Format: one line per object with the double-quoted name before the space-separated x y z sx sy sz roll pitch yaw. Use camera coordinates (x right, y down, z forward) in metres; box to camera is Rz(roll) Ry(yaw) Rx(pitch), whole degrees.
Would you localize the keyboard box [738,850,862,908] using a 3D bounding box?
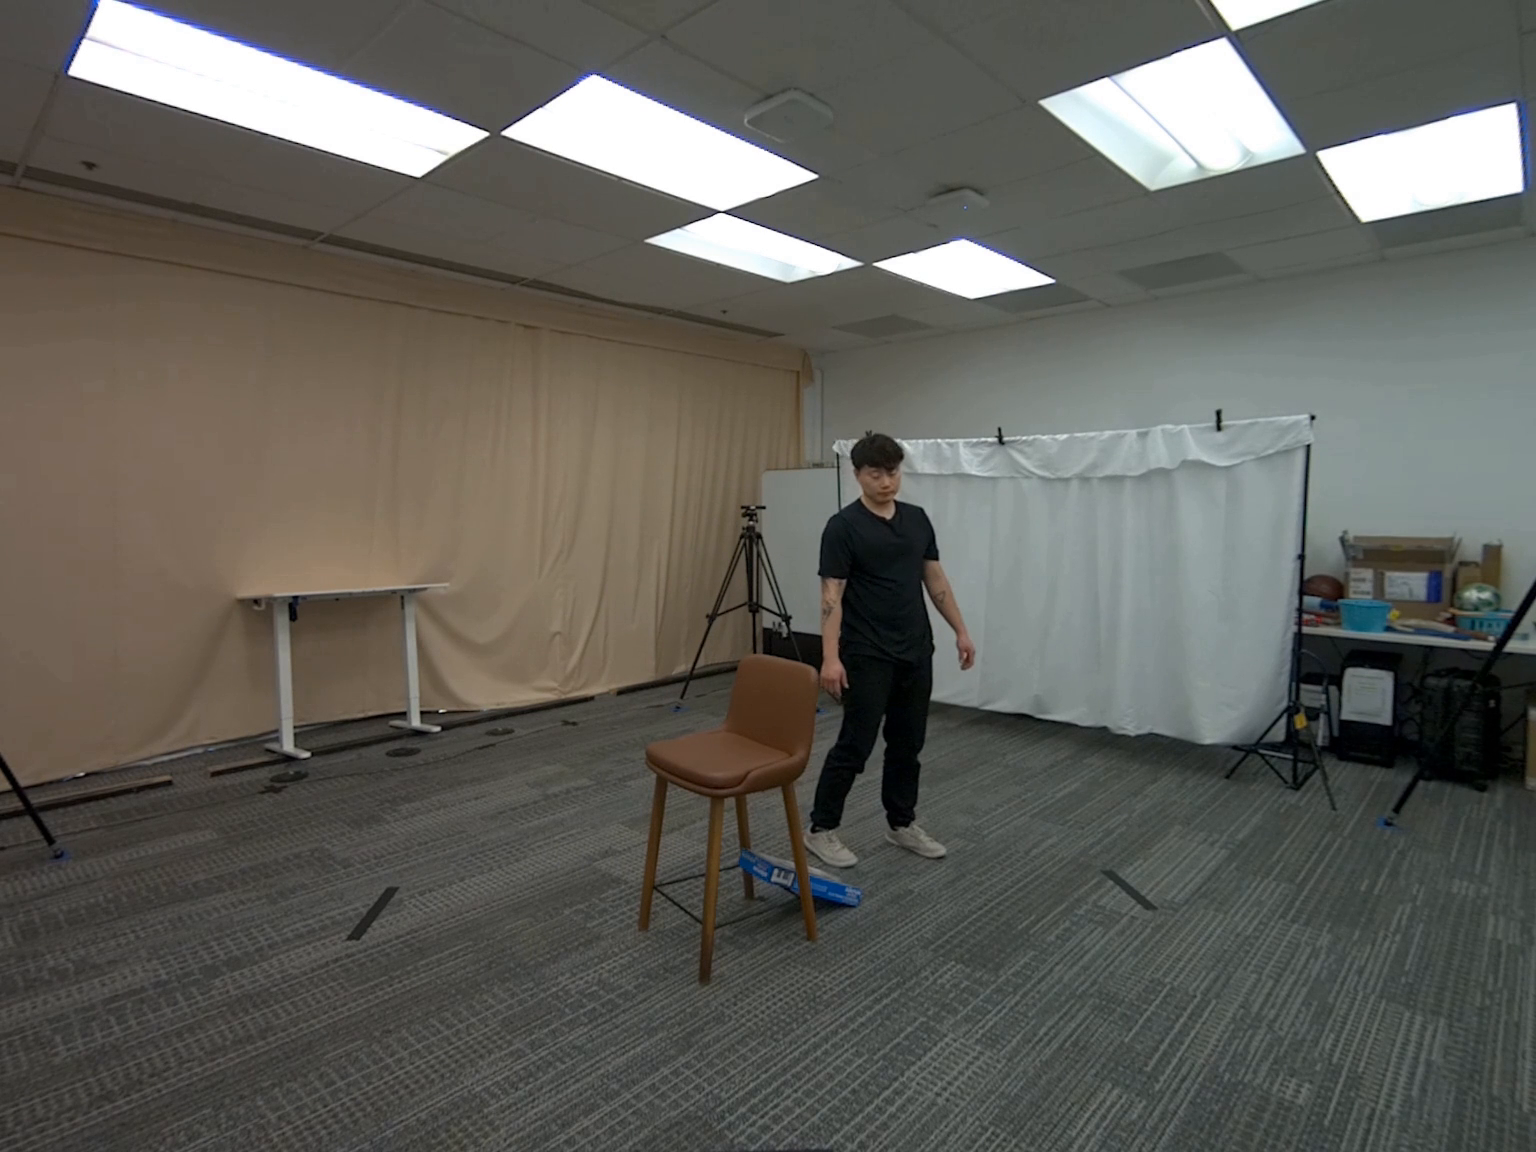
"keyboard box" 0.114 1.037 2.885 0.422 0.059 0.181 28 -13 -33
